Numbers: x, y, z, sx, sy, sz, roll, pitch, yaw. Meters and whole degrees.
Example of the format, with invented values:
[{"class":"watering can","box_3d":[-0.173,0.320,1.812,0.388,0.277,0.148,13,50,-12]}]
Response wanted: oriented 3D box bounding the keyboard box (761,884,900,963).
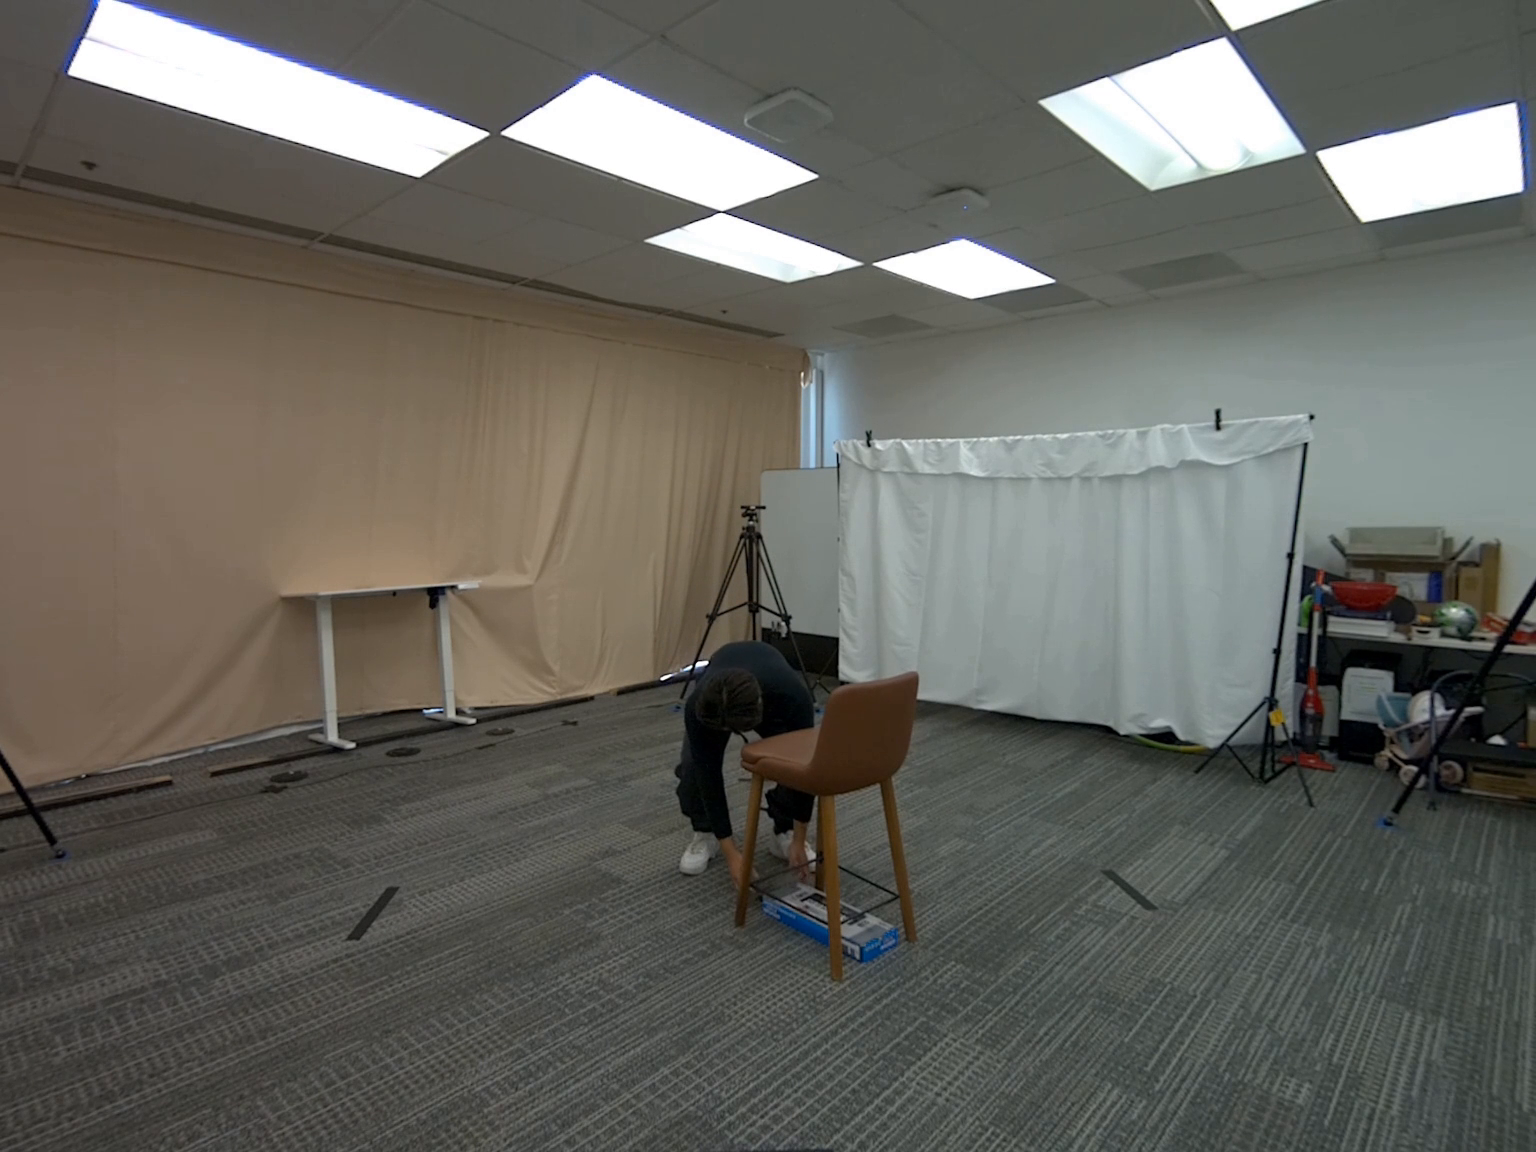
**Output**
[{"class":"keyboard box","box_3d":[0.197,1.133,2.770,0.171,0.059,0.451,-7,8,-42]}]
